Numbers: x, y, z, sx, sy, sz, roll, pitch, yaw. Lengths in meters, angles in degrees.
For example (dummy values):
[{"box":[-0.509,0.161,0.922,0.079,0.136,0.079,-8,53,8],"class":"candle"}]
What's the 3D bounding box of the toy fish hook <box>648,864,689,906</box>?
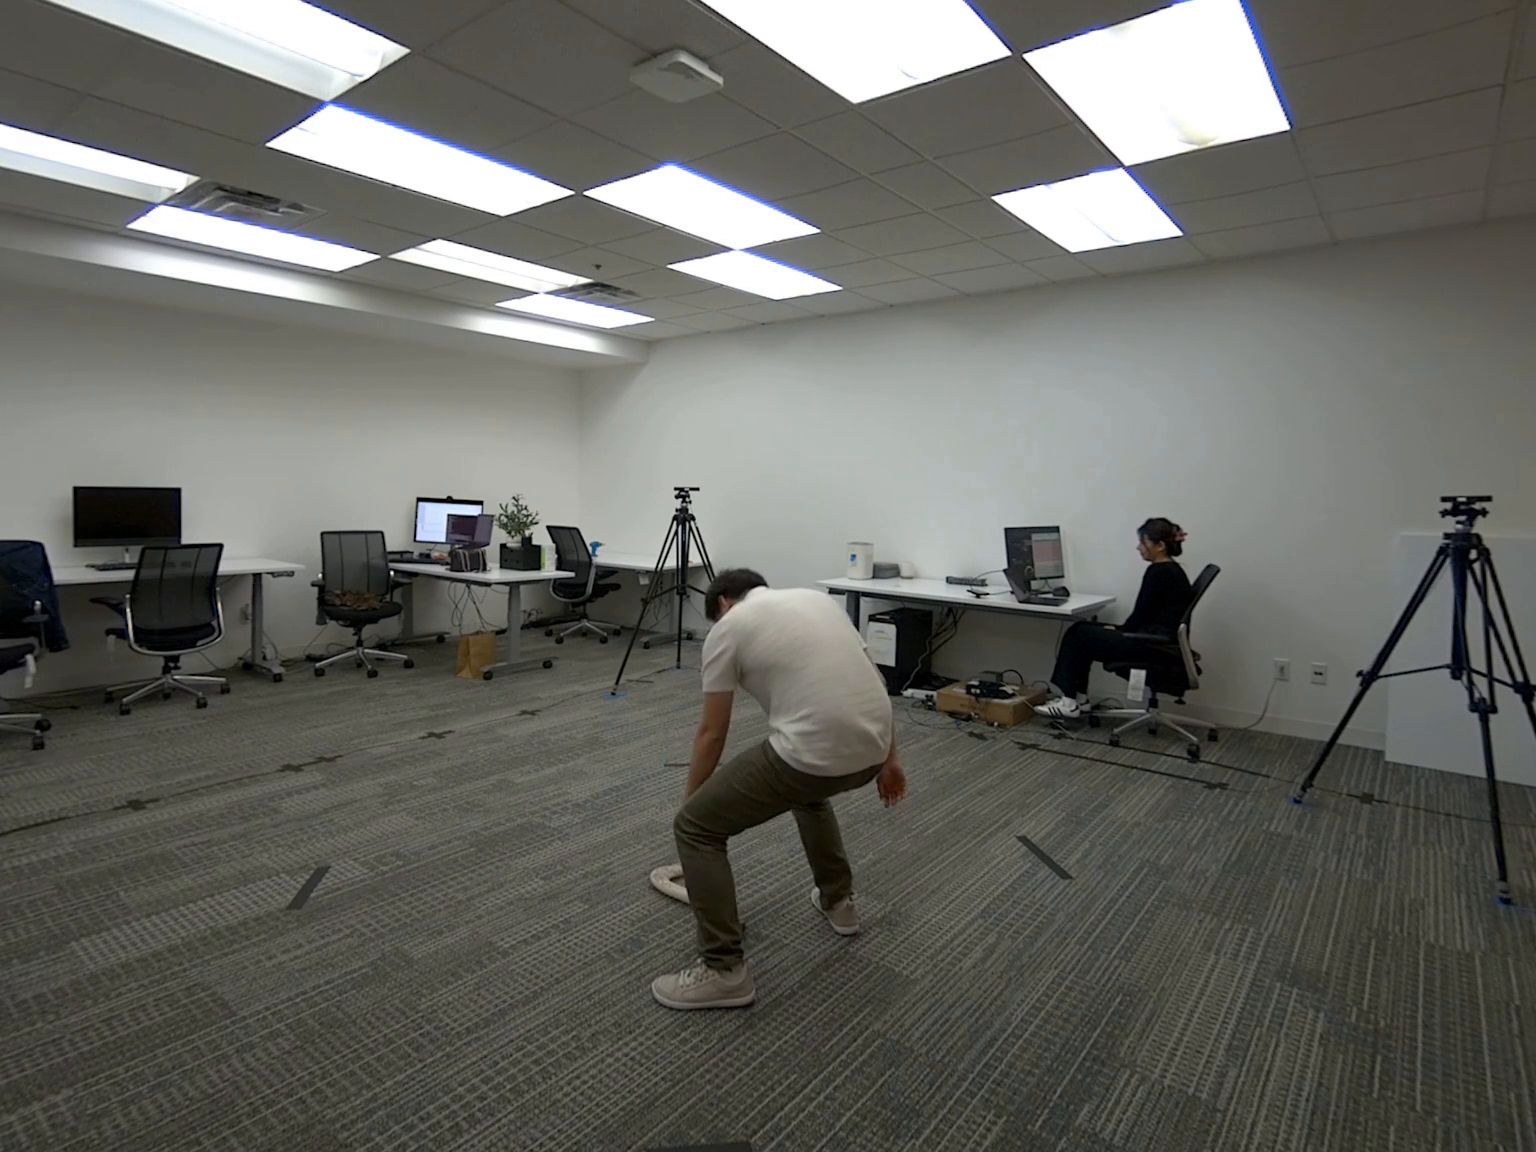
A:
[{"box":[-0.213,1.064,2.862,0.218,0.048,0.524,-4,8,-38],"class":"toy fish hook"}]
